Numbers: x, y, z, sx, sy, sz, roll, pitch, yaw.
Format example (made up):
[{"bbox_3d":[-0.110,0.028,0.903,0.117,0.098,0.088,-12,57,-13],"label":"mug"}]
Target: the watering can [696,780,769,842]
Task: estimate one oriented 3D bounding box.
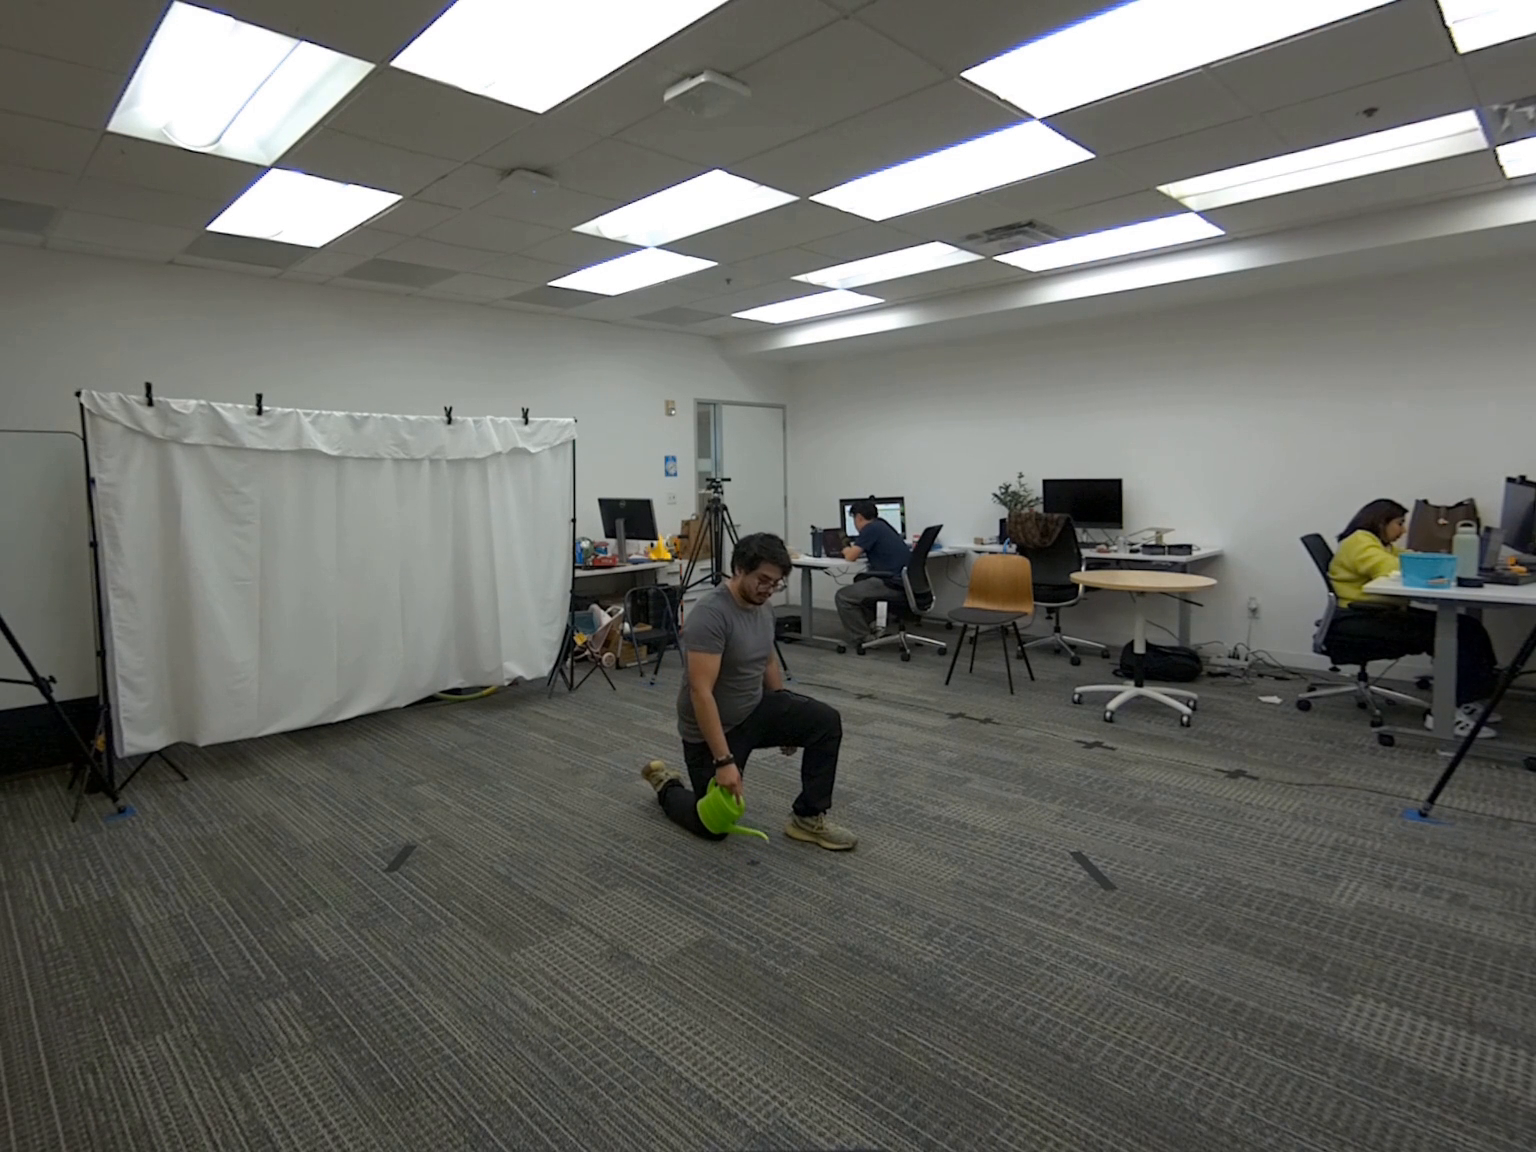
[{"bbox_3d":[-0.135,0.842,2.960,0.095,0.287,0.177,9,-45,-47],"label":"watering can"}]
